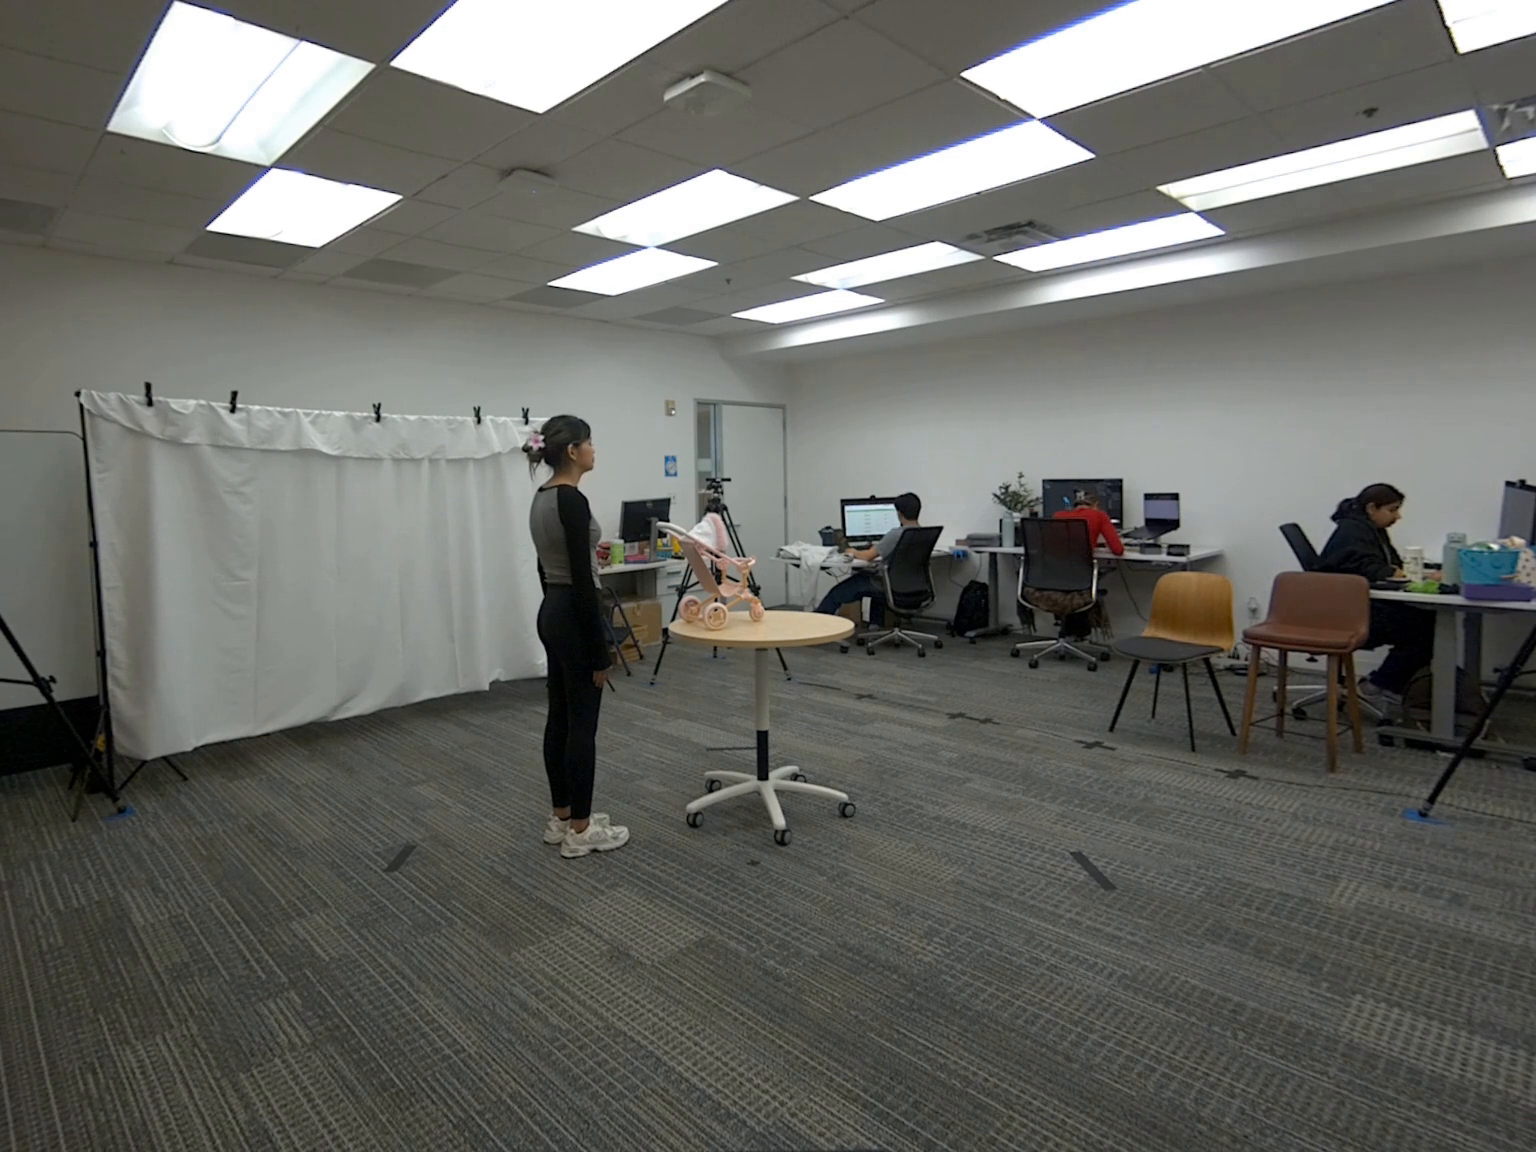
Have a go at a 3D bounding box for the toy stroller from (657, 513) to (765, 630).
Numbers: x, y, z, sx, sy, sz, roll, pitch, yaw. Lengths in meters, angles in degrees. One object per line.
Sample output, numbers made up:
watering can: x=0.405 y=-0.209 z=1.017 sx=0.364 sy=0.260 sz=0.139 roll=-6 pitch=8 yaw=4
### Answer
toy stroller: x=-0.220 y=-0.021 z=3.526 sx=0.337 sy=0.529 sz=0.288 roll=-19 pitch=11 yaw=-21
